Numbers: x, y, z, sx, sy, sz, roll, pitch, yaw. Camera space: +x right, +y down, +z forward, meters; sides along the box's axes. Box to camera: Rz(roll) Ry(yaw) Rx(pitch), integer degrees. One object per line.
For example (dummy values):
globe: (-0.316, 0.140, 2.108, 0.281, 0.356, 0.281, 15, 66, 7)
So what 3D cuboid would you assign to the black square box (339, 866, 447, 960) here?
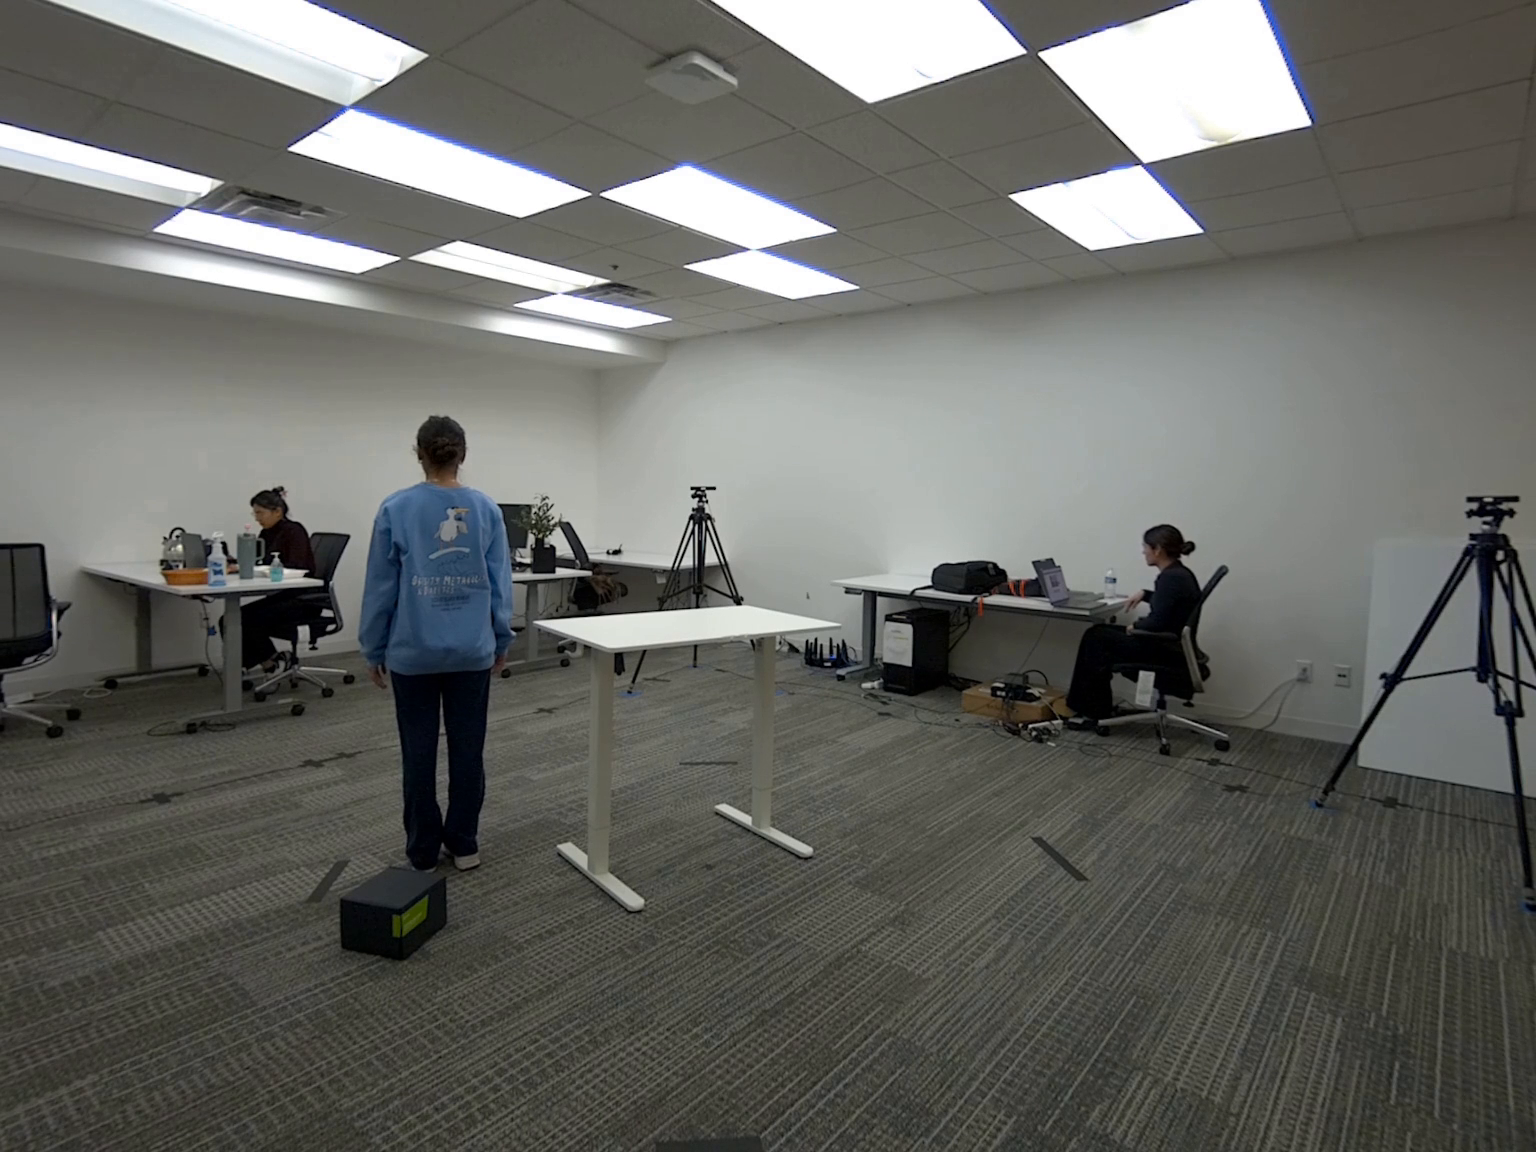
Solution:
black square box: (-1.150, 1.020, 2.600, 0.220, 0.155, 0.225, 2, 5, 14)
